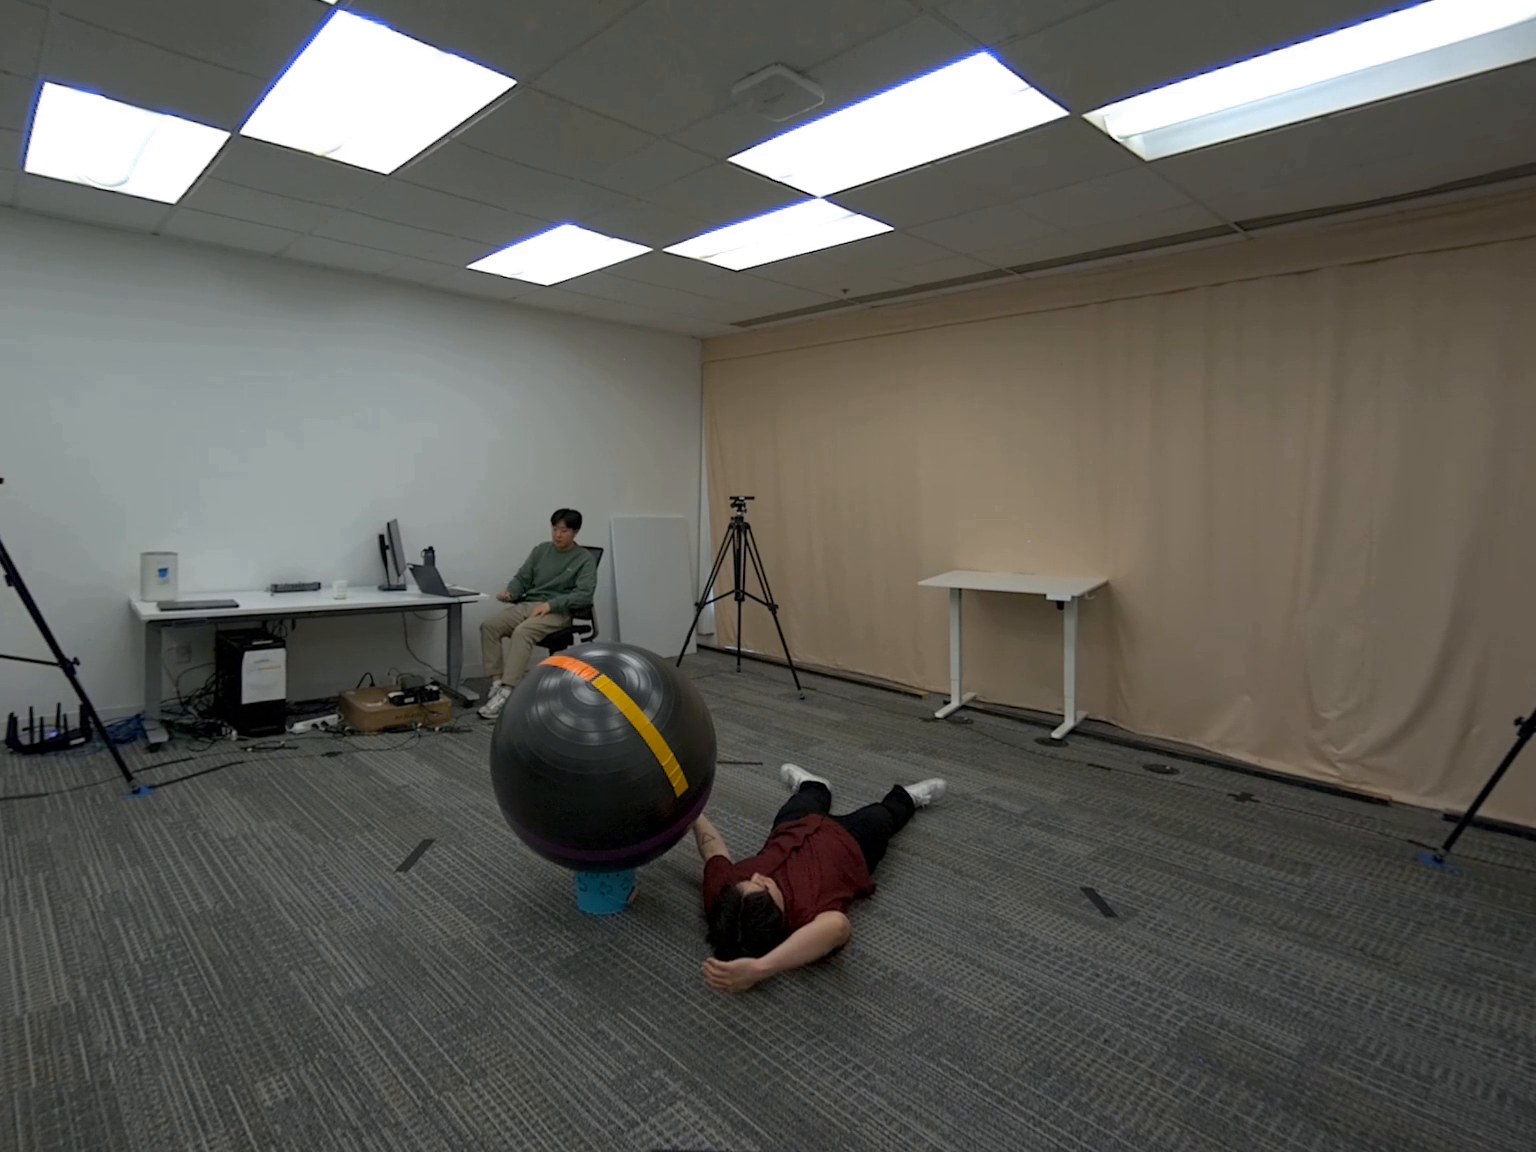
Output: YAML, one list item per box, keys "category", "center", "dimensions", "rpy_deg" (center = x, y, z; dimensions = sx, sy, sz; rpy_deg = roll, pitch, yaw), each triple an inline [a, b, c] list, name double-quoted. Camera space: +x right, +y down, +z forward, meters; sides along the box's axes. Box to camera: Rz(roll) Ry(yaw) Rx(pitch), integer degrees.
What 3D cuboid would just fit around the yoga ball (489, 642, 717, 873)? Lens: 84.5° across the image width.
- category: "yoga ball"
  center: [-0.557, 0.607, 2.861]
  dimensions: [0.757, 0.756, 0.761]
  rpy_deg: [1, 4, -1]
